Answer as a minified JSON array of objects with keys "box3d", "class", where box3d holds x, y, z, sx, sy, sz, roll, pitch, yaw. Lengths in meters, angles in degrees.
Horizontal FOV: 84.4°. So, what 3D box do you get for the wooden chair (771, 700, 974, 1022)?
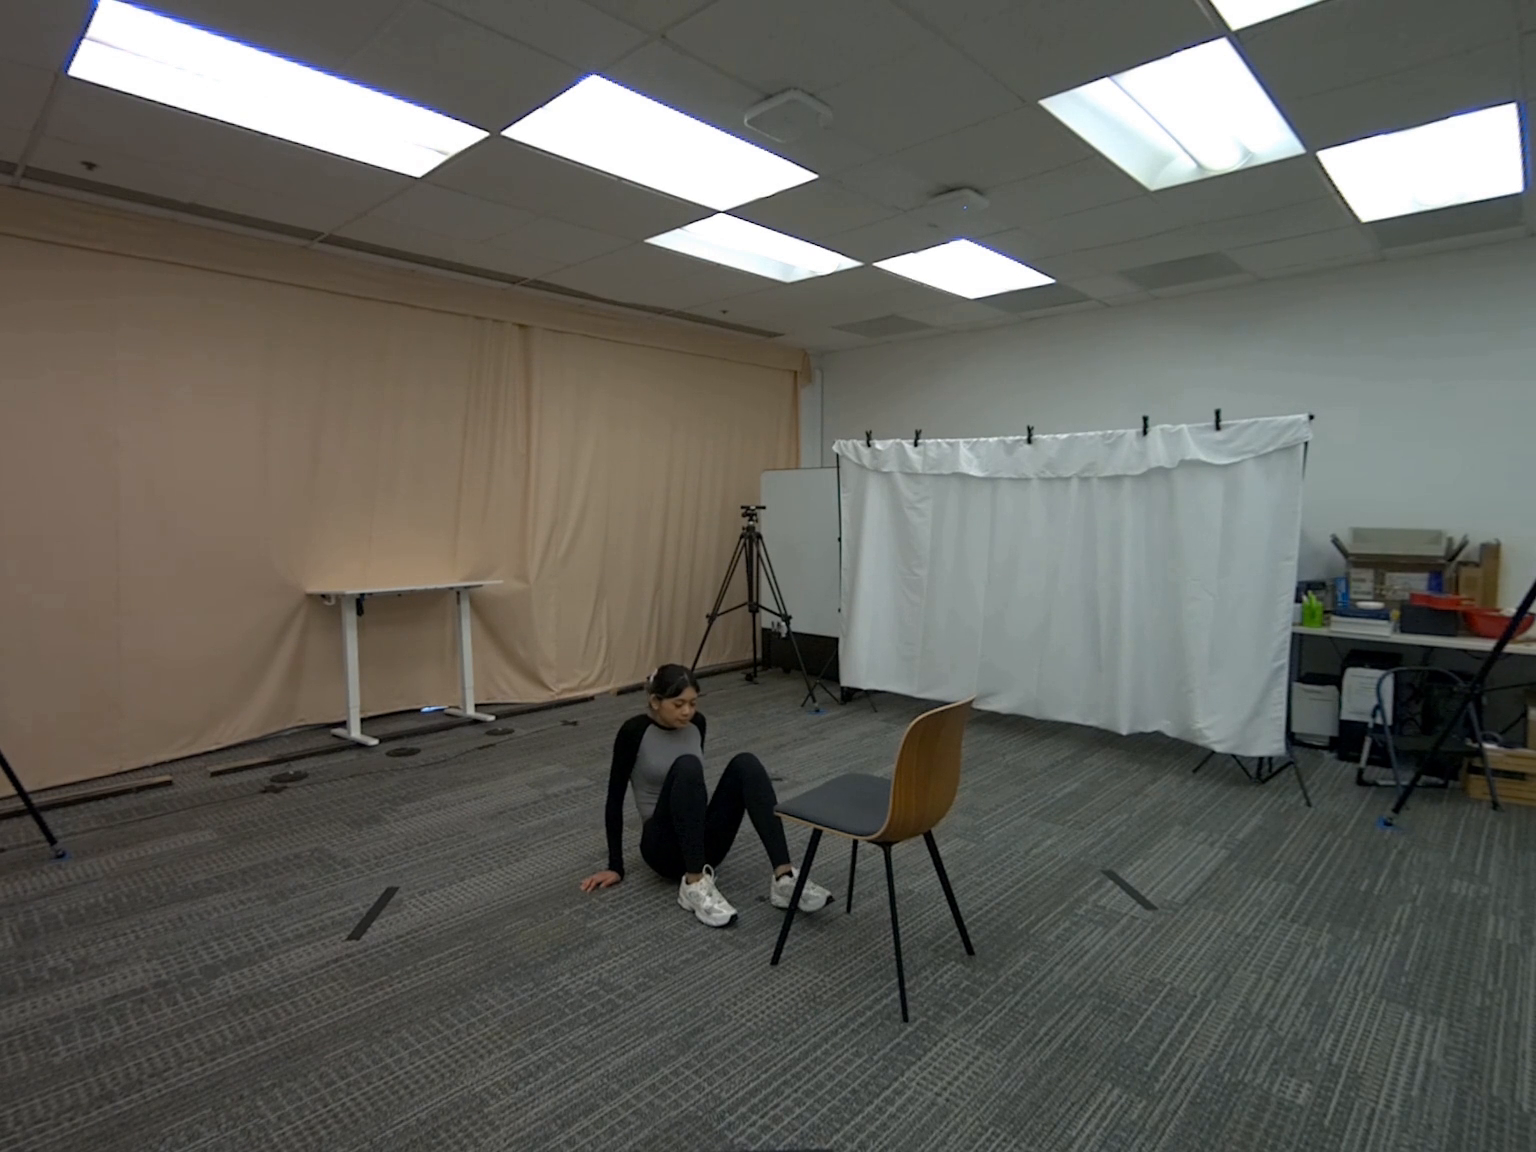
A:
[{"box3d":[0.322,0.750,2.554,0.541,0.874,0.464,8,8,38],"class":"wooden chair"}]
